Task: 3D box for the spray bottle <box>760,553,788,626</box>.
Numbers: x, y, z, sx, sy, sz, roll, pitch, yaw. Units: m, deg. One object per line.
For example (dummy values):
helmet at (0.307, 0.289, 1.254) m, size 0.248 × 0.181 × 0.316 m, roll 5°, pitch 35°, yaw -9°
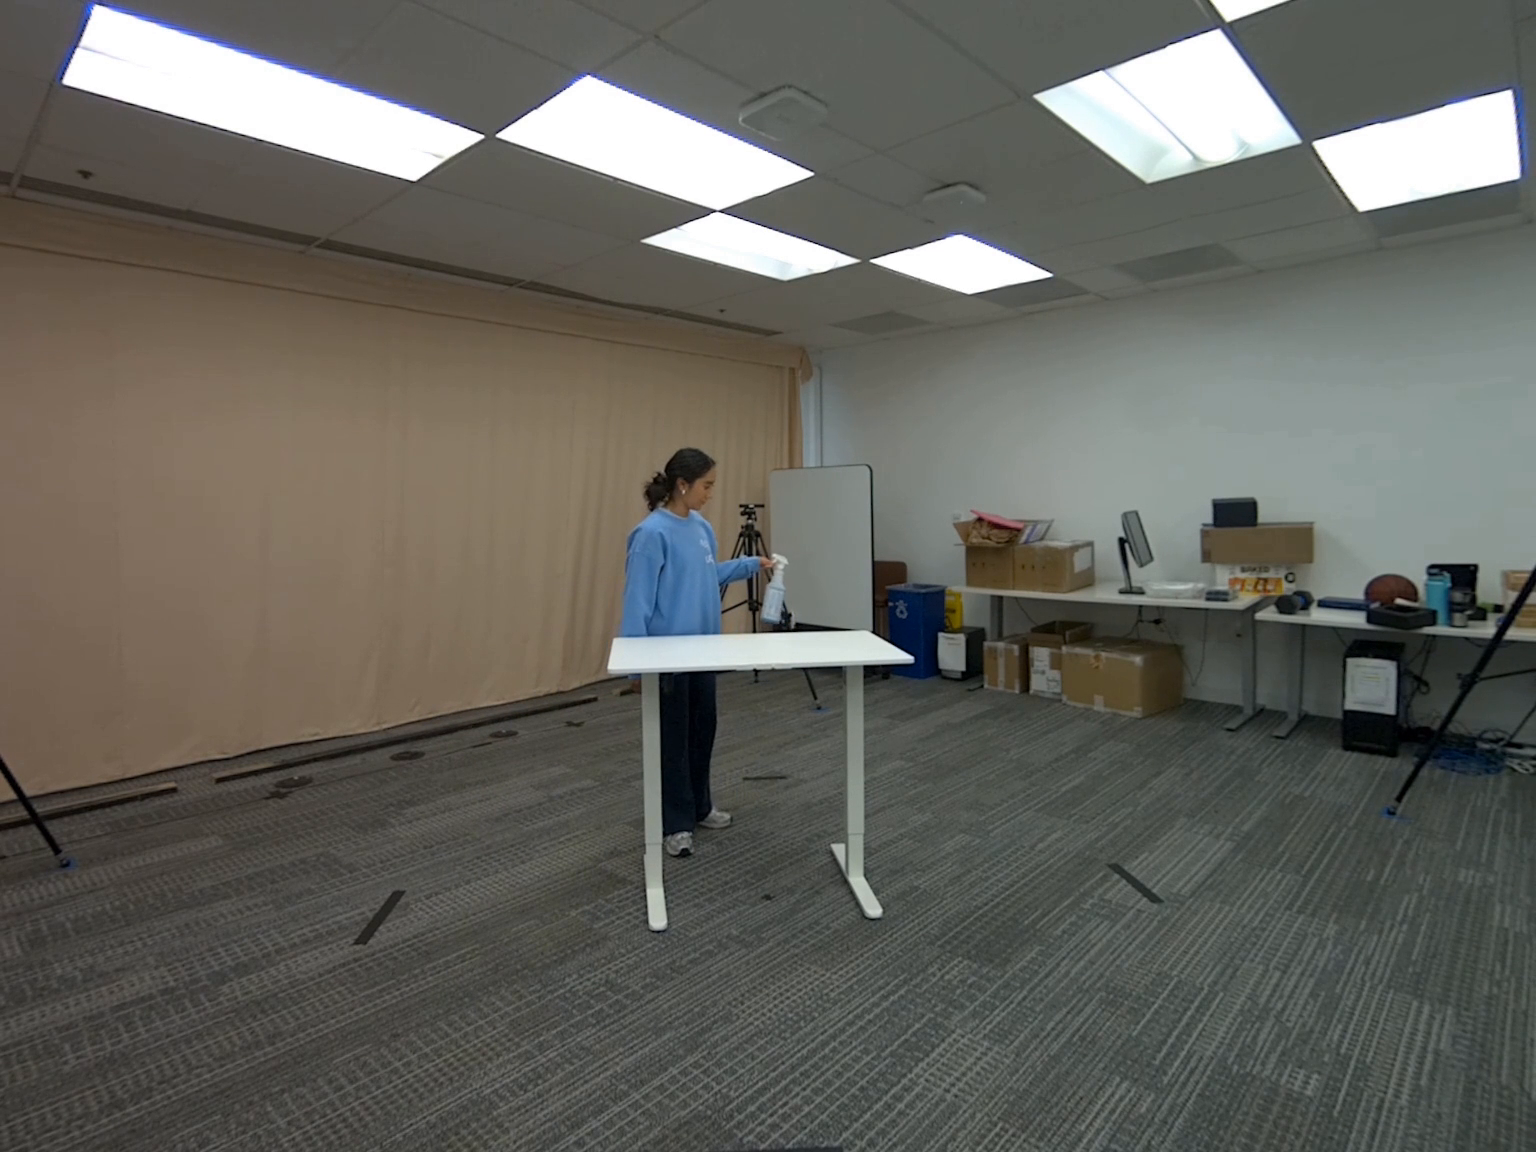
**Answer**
spray bottle at (0.033, 0.060, 3.690) m, size 0.089 × 0.298 × 0.088 m, roll 12°, pitch -3°, yaw -11°
